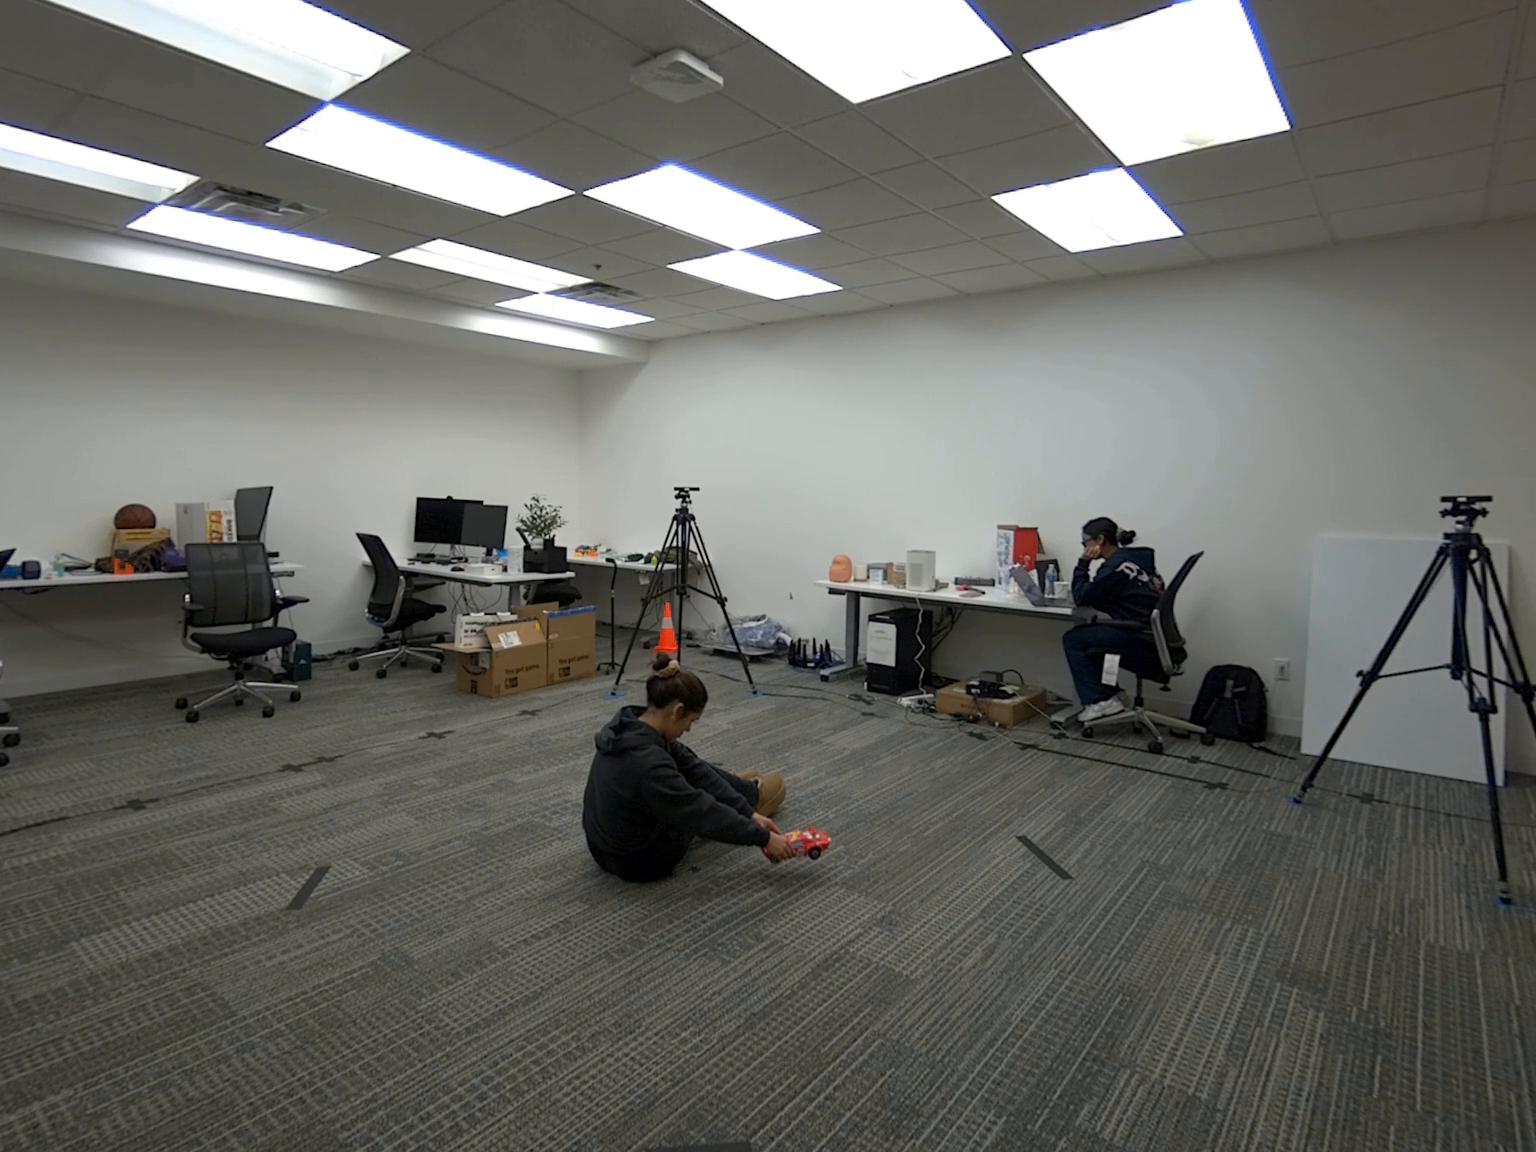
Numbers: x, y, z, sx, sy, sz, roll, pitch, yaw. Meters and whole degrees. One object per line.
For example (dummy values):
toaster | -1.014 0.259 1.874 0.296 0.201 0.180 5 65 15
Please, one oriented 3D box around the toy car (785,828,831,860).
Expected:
toy car | 0.109 0.973 3.065 0.252 0.082 0.133 -16 13 -10
